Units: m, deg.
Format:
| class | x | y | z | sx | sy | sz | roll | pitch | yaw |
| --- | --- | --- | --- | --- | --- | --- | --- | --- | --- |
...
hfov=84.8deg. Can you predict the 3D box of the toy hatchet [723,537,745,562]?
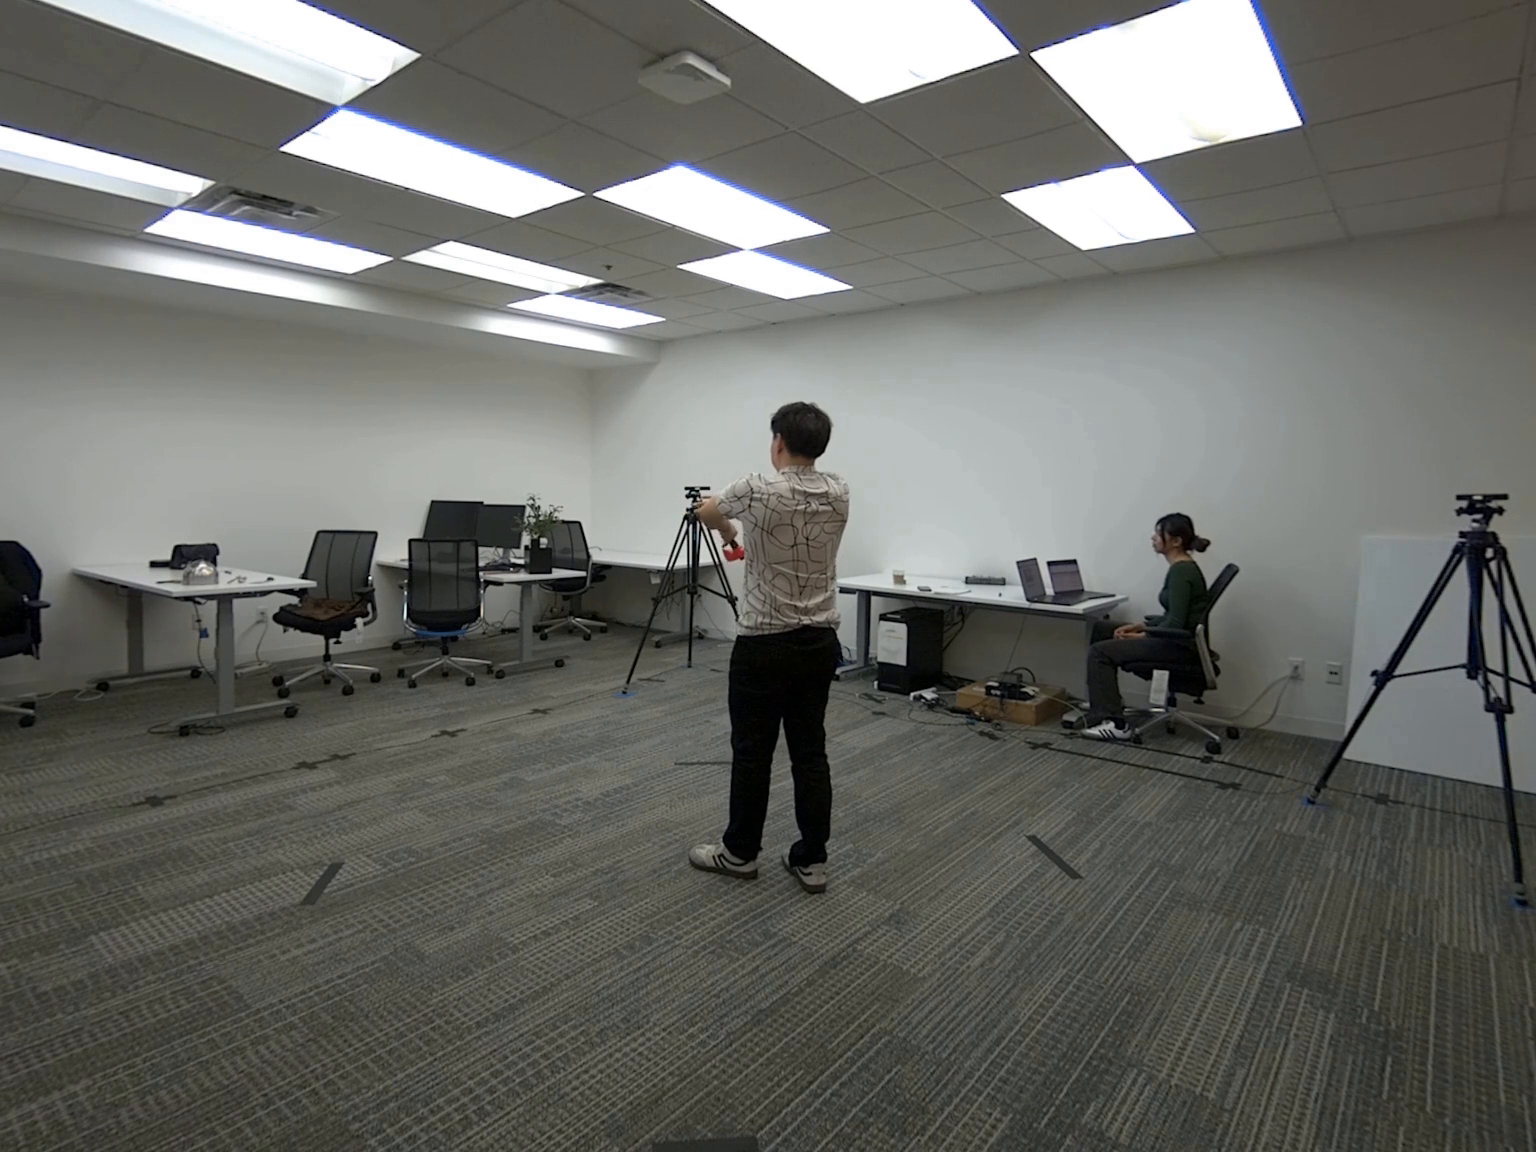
| class | x | y | z | sx | sy | sz | roll | pitch | yaw |
| --- | --- | --- | --- | --- | --- | --- | --- | --- | --- |
| toy hatchet | -0.209 | -0.158 | 3.398 | 0.275 | 0.130 | 0.029 | 38 | 32 | 11 |
